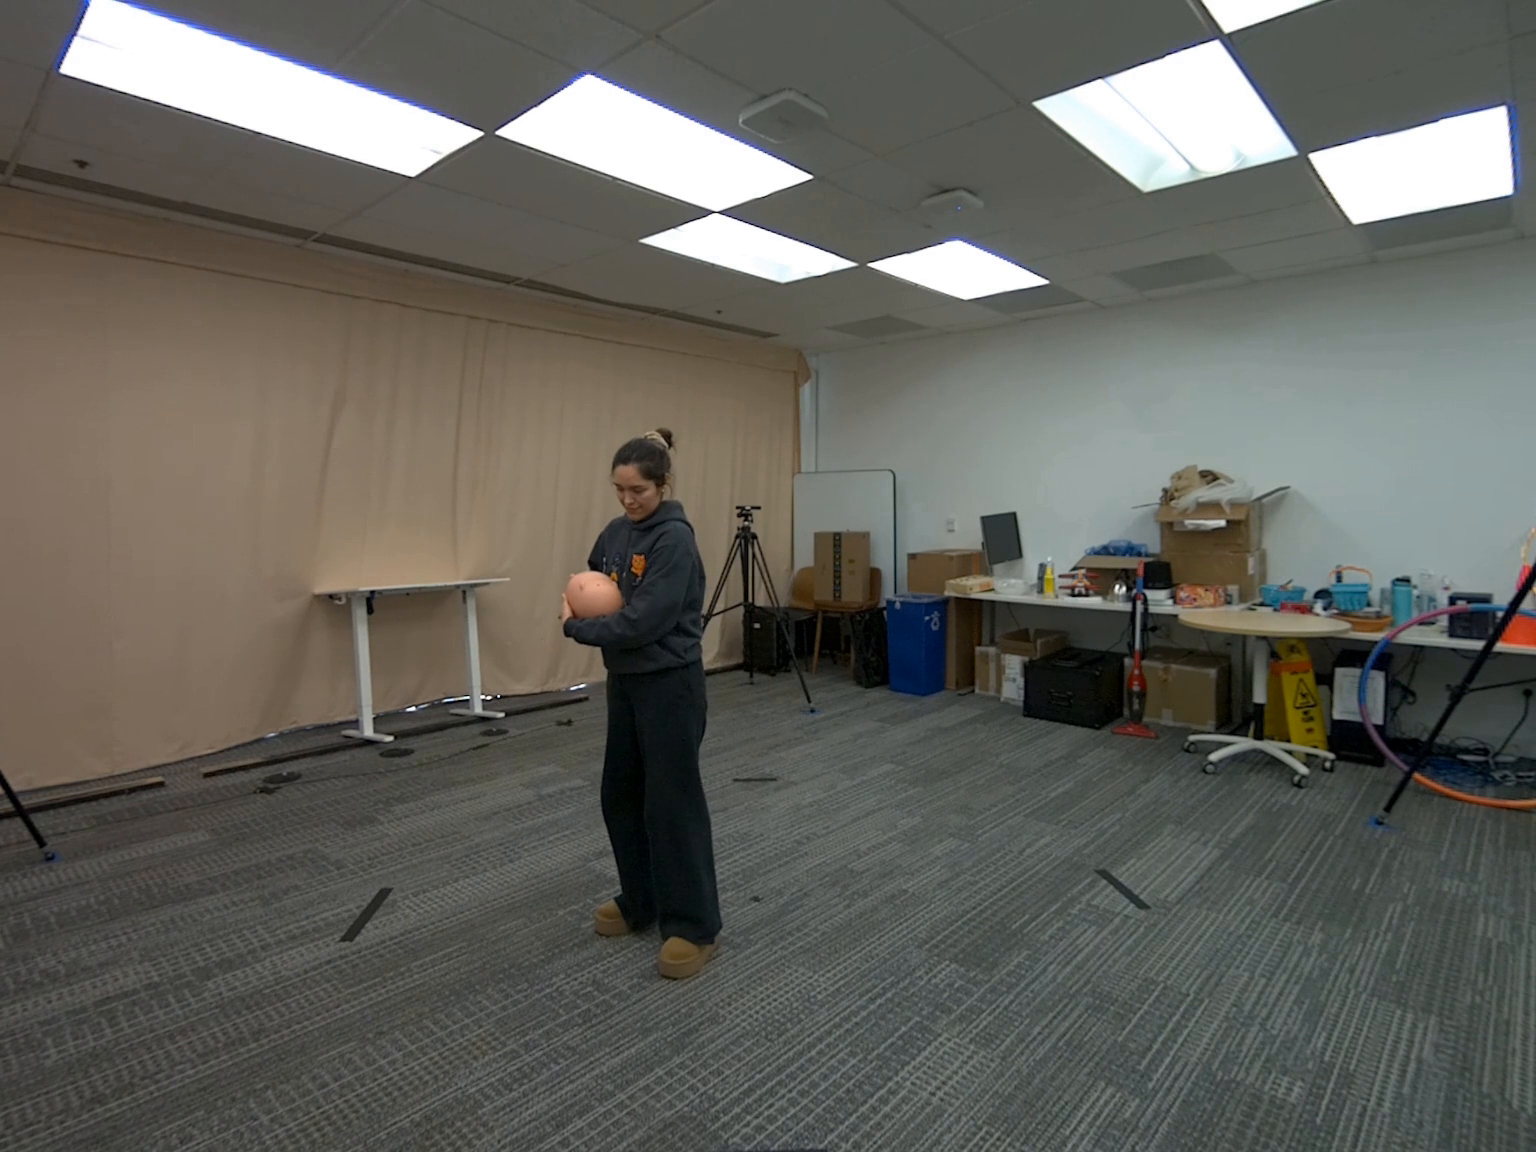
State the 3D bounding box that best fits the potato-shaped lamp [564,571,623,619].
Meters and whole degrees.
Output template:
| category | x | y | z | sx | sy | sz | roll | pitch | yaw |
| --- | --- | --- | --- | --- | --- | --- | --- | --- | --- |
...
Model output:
| category | x | y | z | sx | sy | sz | roll | pitch | yaw |
| --- | --- | --- | --- | --- | --- | --- | --- | --- | --- |
| potato-shaped lamp | -0.524 | 0.083 | 2.649 | 0.159 | 0.171 | 0.205 | 0 | 7 | -39 |
